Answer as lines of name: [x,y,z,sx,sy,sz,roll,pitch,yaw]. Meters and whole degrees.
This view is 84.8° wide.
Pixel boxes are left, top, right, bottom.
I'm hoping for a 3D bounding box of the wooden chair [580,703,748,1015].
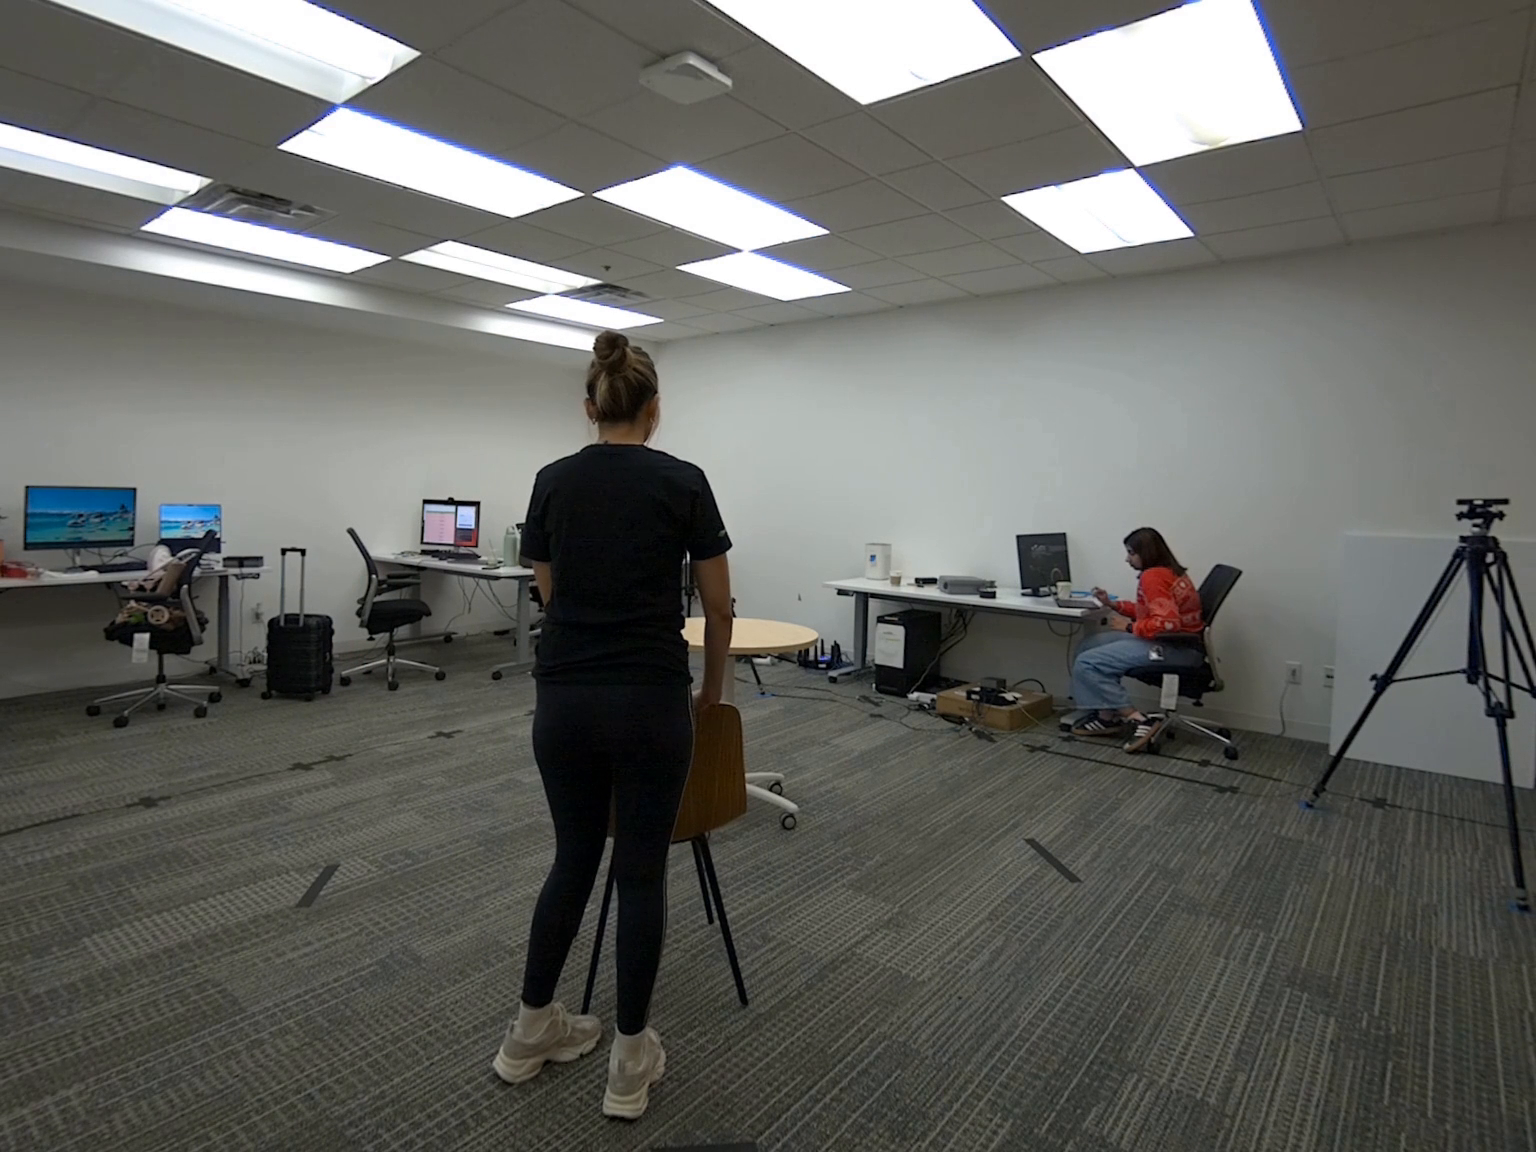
wooden chair: [-0.330,0.706,2.442,0.471,0.871,0.534,0,8,-14]
